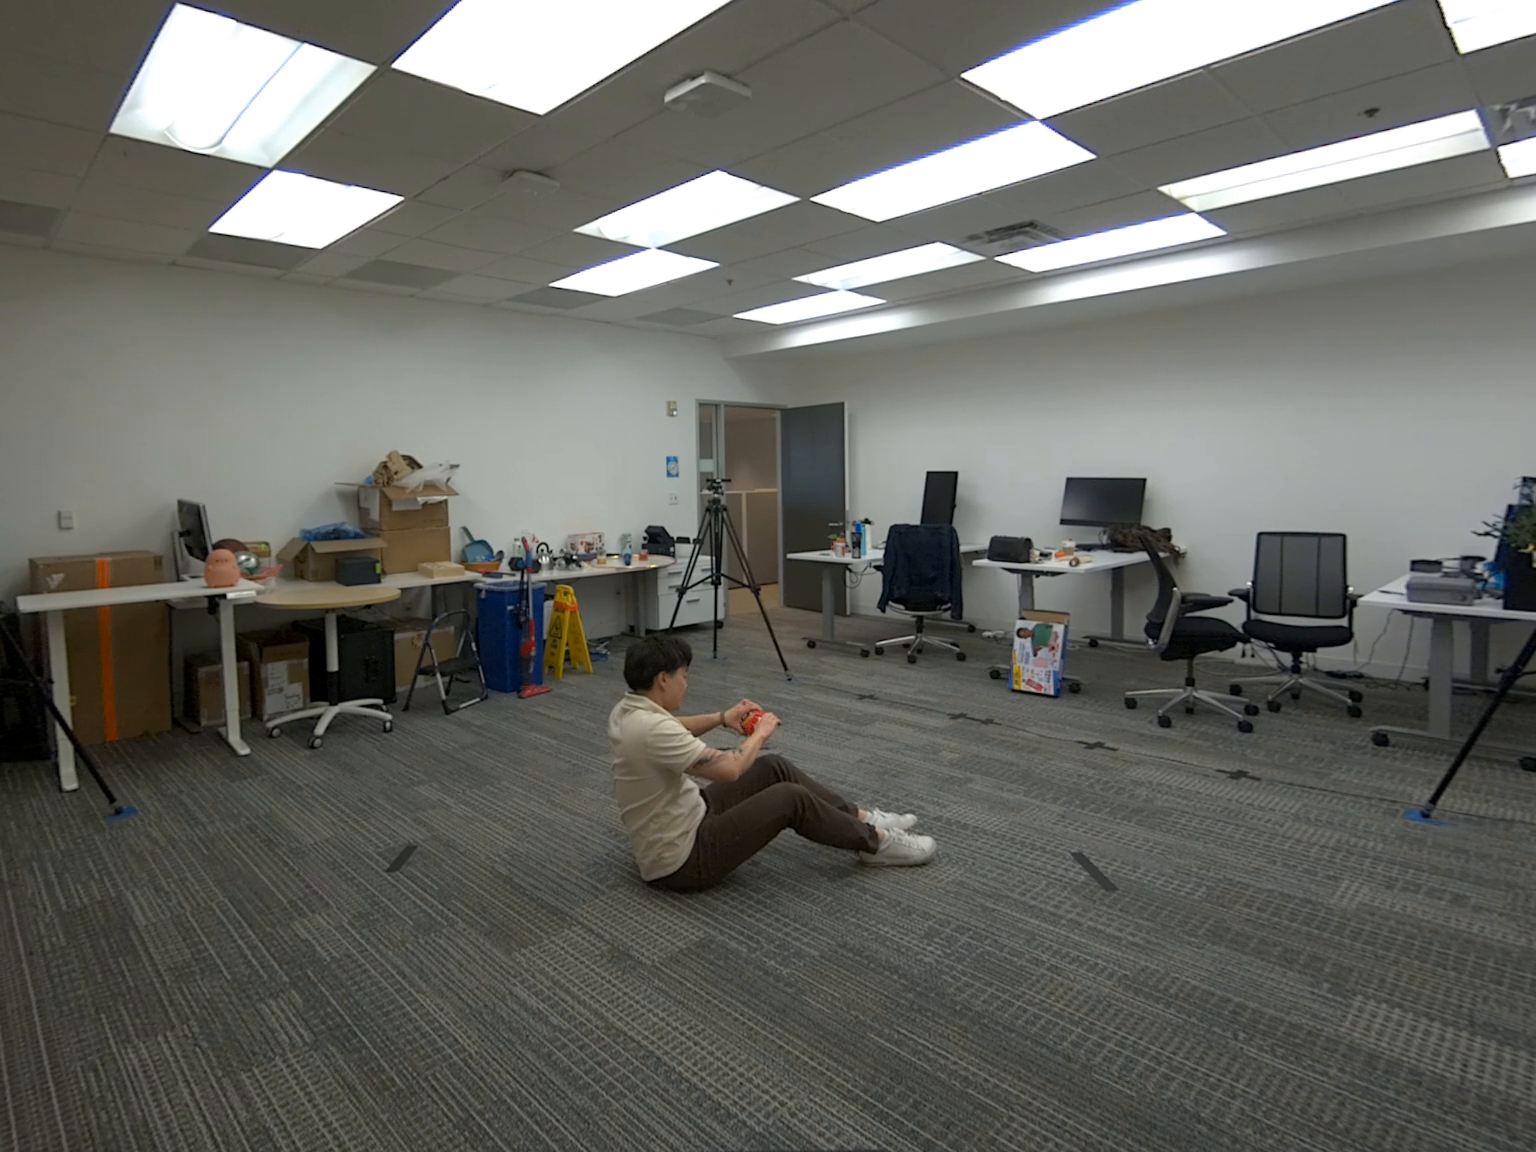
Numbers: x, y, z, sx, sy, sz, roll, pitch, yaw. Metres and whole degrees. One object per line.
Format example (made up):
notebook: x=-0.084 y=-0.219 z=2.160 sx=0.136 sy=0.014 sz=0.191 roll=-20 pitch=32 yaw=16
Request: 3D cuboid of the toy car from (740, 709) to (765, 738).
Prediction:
toy car: x=-0.040 y=0.561 z=3.194 sx=0.082 sy=0.130 sz=0.257 roll=33 pitch=-8 yaw=-12
